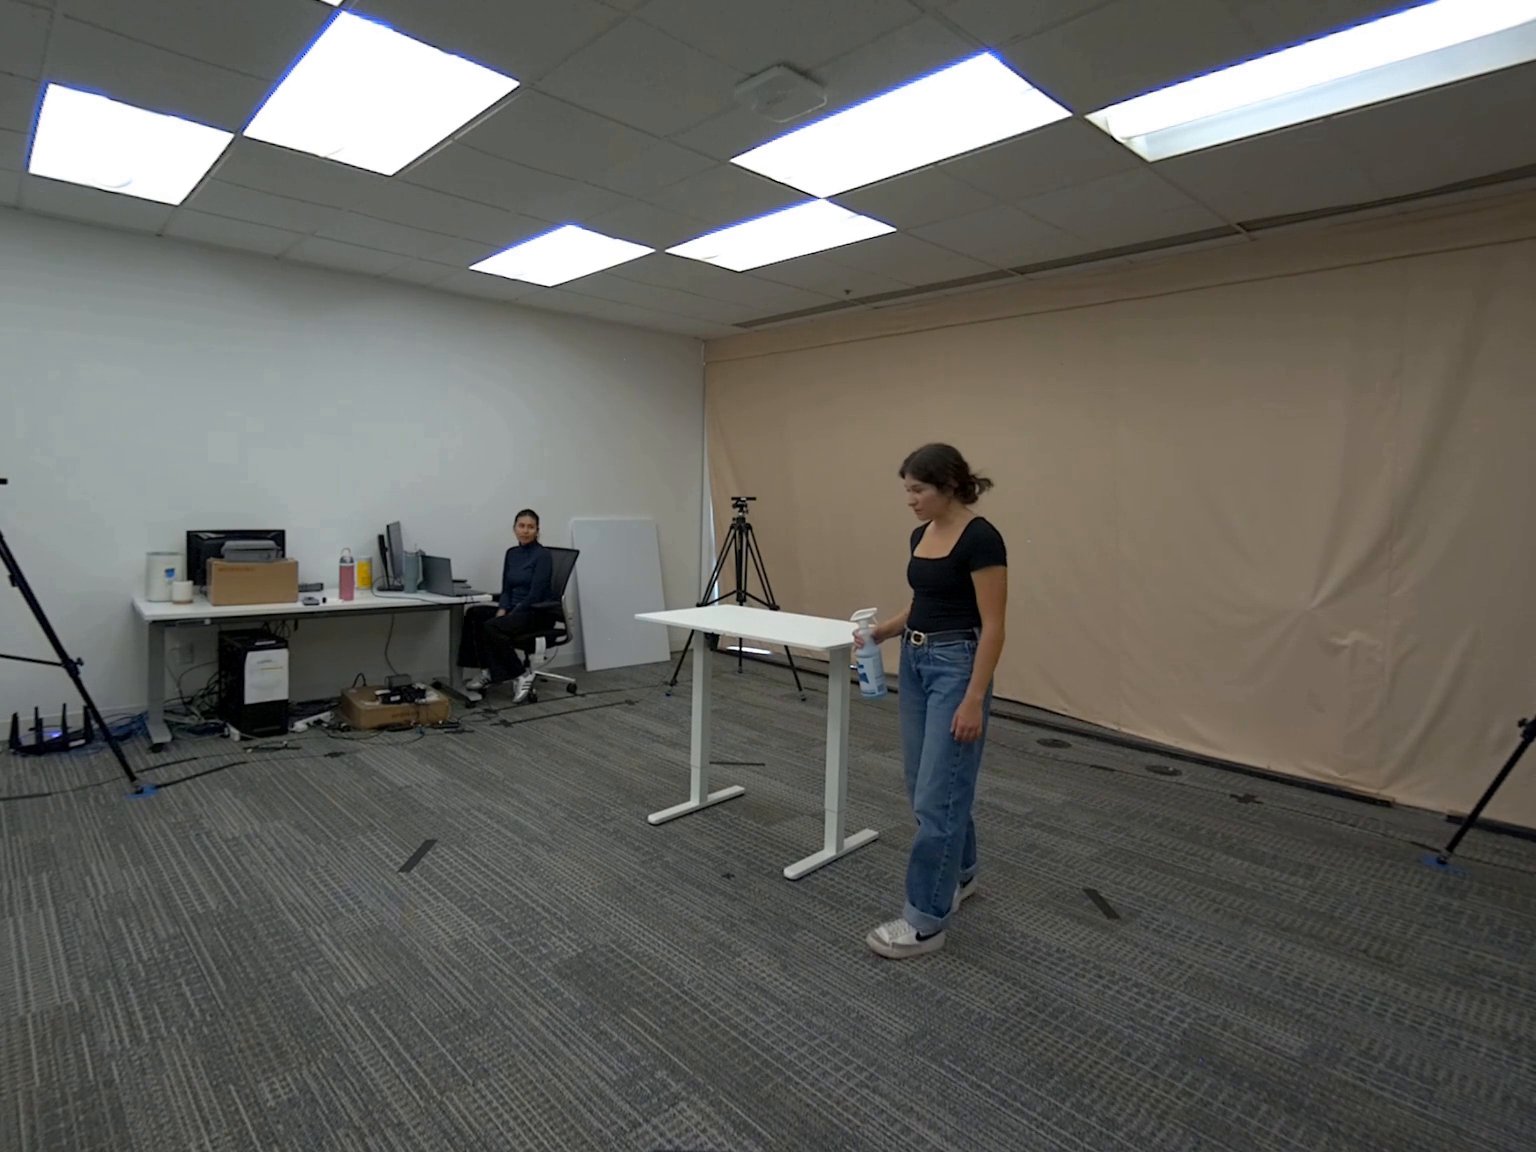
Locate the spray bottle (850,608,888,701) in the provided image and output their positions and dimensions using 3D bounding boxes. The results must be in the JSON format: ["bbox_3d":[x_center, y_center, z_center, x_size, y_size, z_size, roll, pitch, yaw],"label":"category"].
[{"bbox_3d":[0.328,0.255,2.804,0.092,0.295,0.086,-2,10,32],"label":"spray bottle"}]
